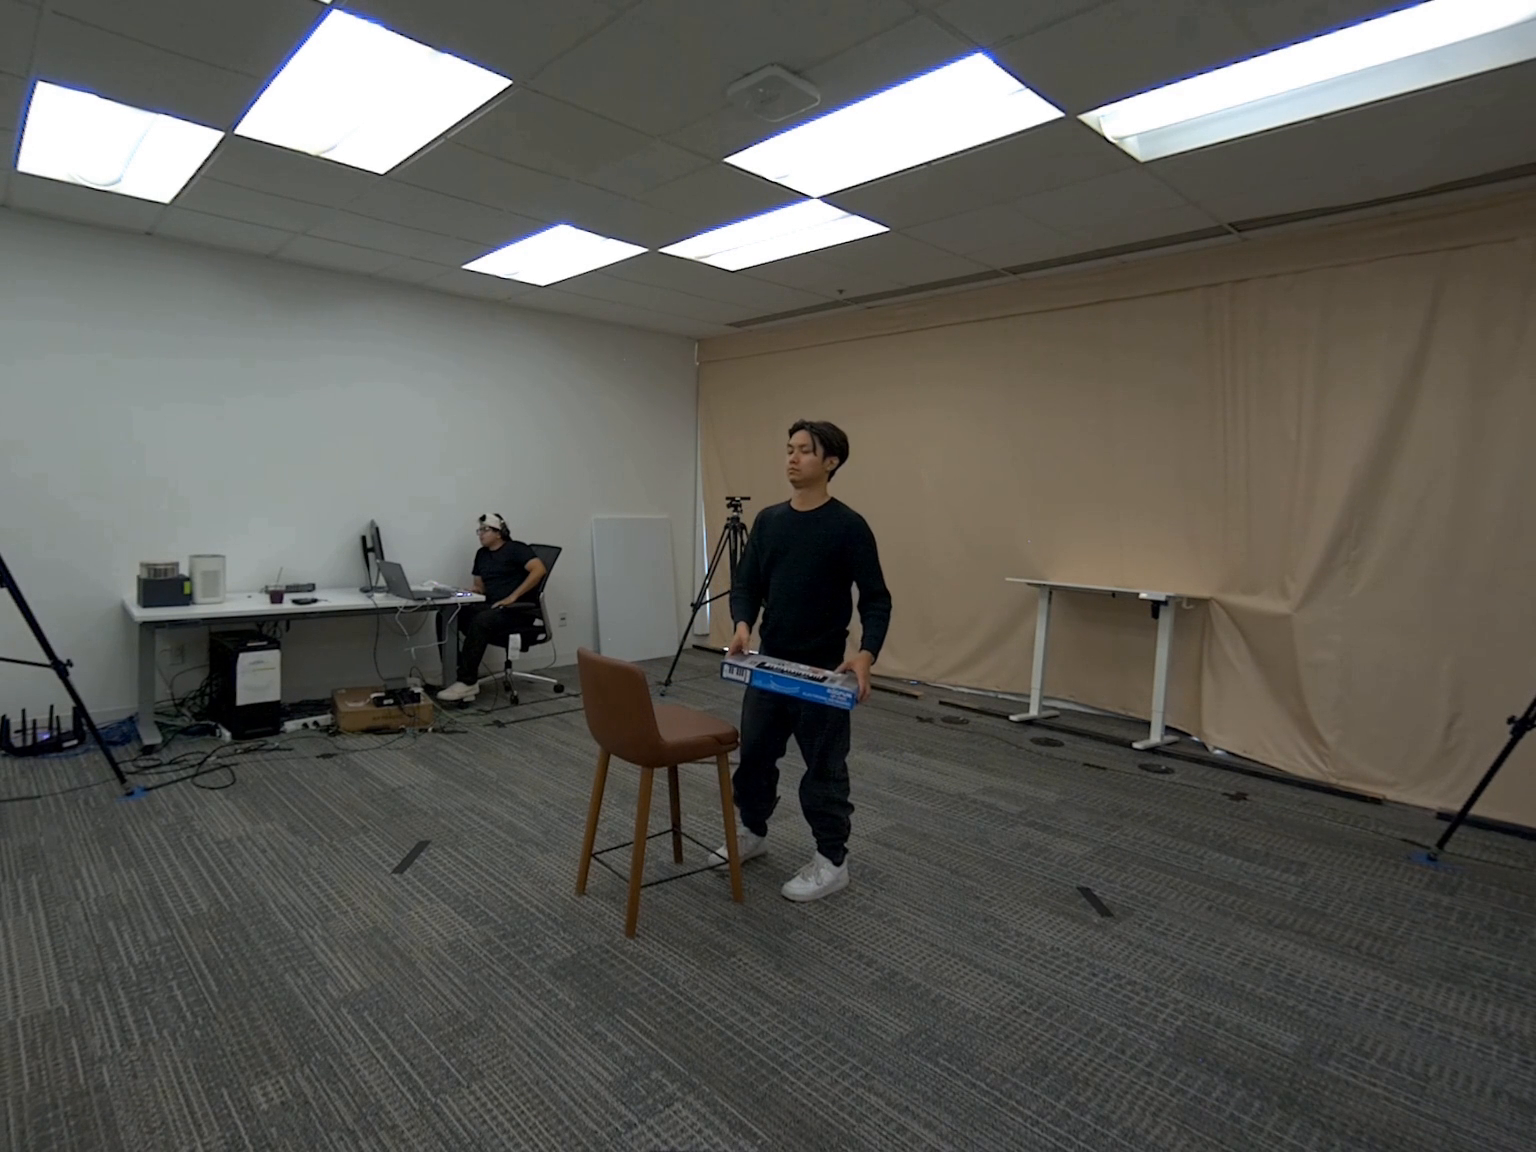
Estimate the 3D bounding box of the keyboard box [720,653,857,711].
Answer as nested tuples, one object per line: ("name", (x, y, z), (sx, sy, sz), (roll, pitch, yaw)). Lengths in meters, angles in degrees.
("keyboard box", (0.075, 0.327, 2.710), (0.444, 0.059, 0.174), (11, 11, 19))
